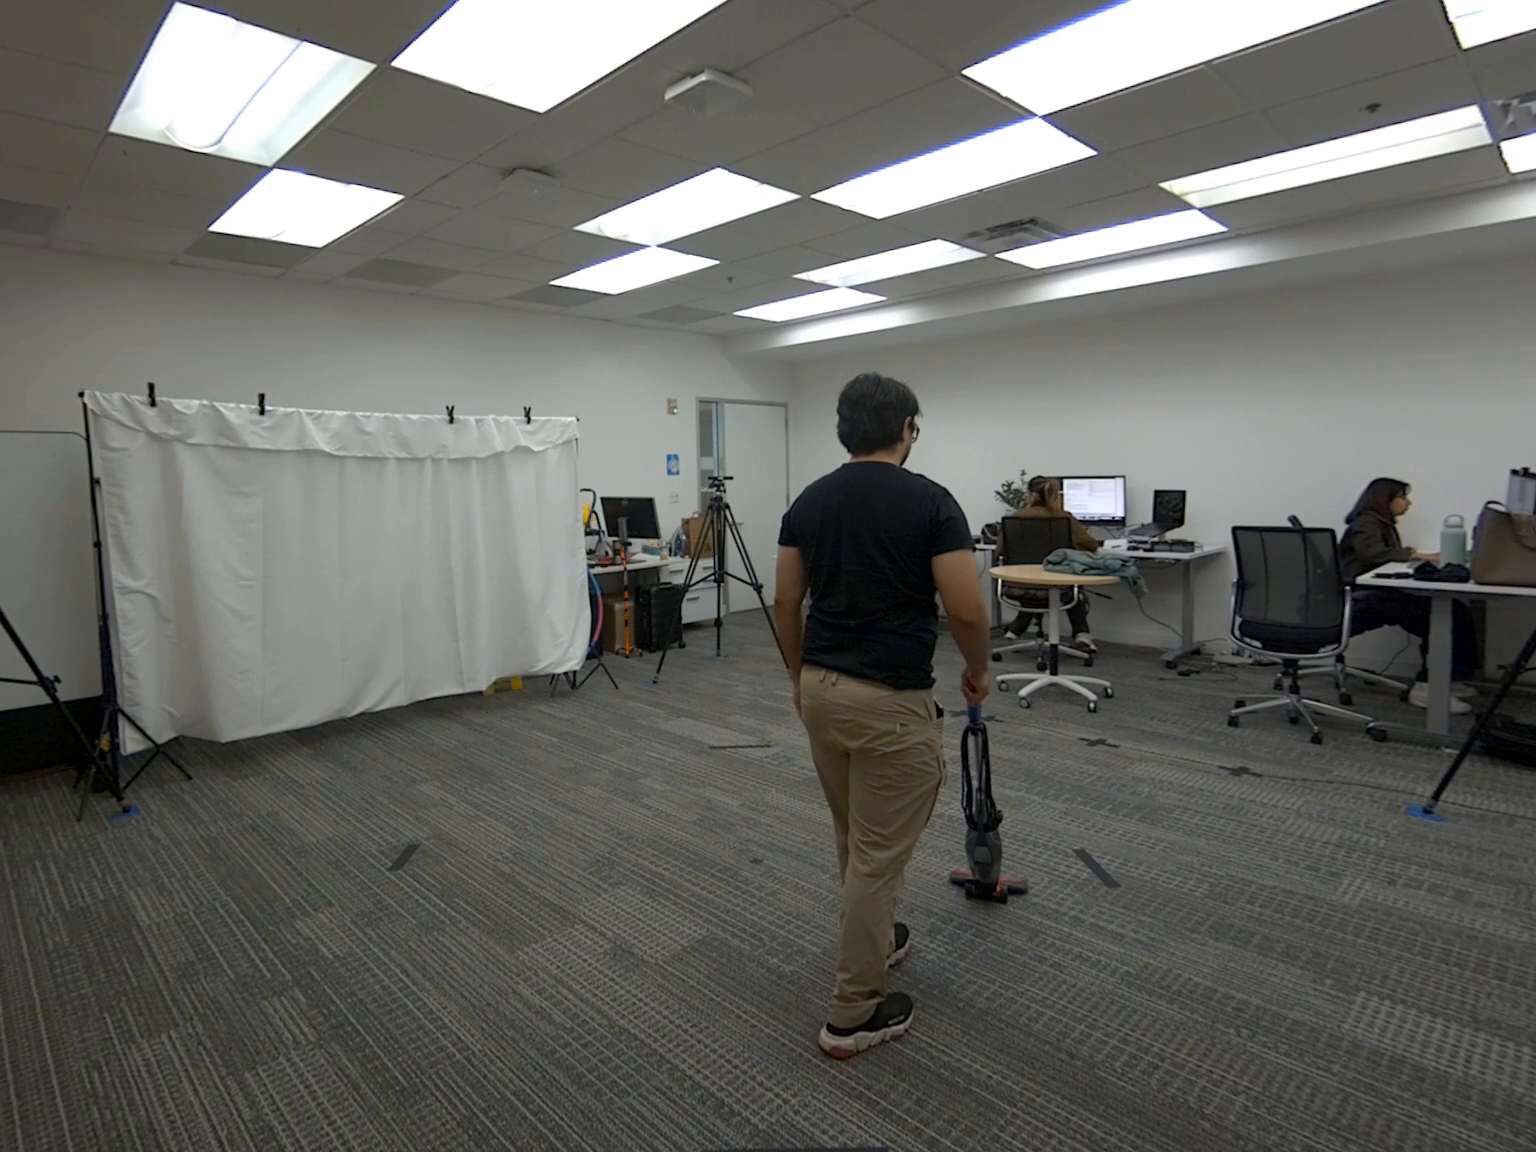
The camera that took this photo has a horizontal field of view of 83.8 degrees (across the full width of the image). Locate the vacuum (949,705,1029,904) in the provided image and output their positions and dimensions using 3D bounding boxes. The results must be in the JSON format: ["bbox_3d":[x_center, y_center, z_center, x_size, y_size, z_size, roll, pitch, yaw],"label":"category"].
[{"bbox_3d":[0.628,0.667,2.527,0.258,1.015,0.145,4,43,22],"label":"vacuum"}]
